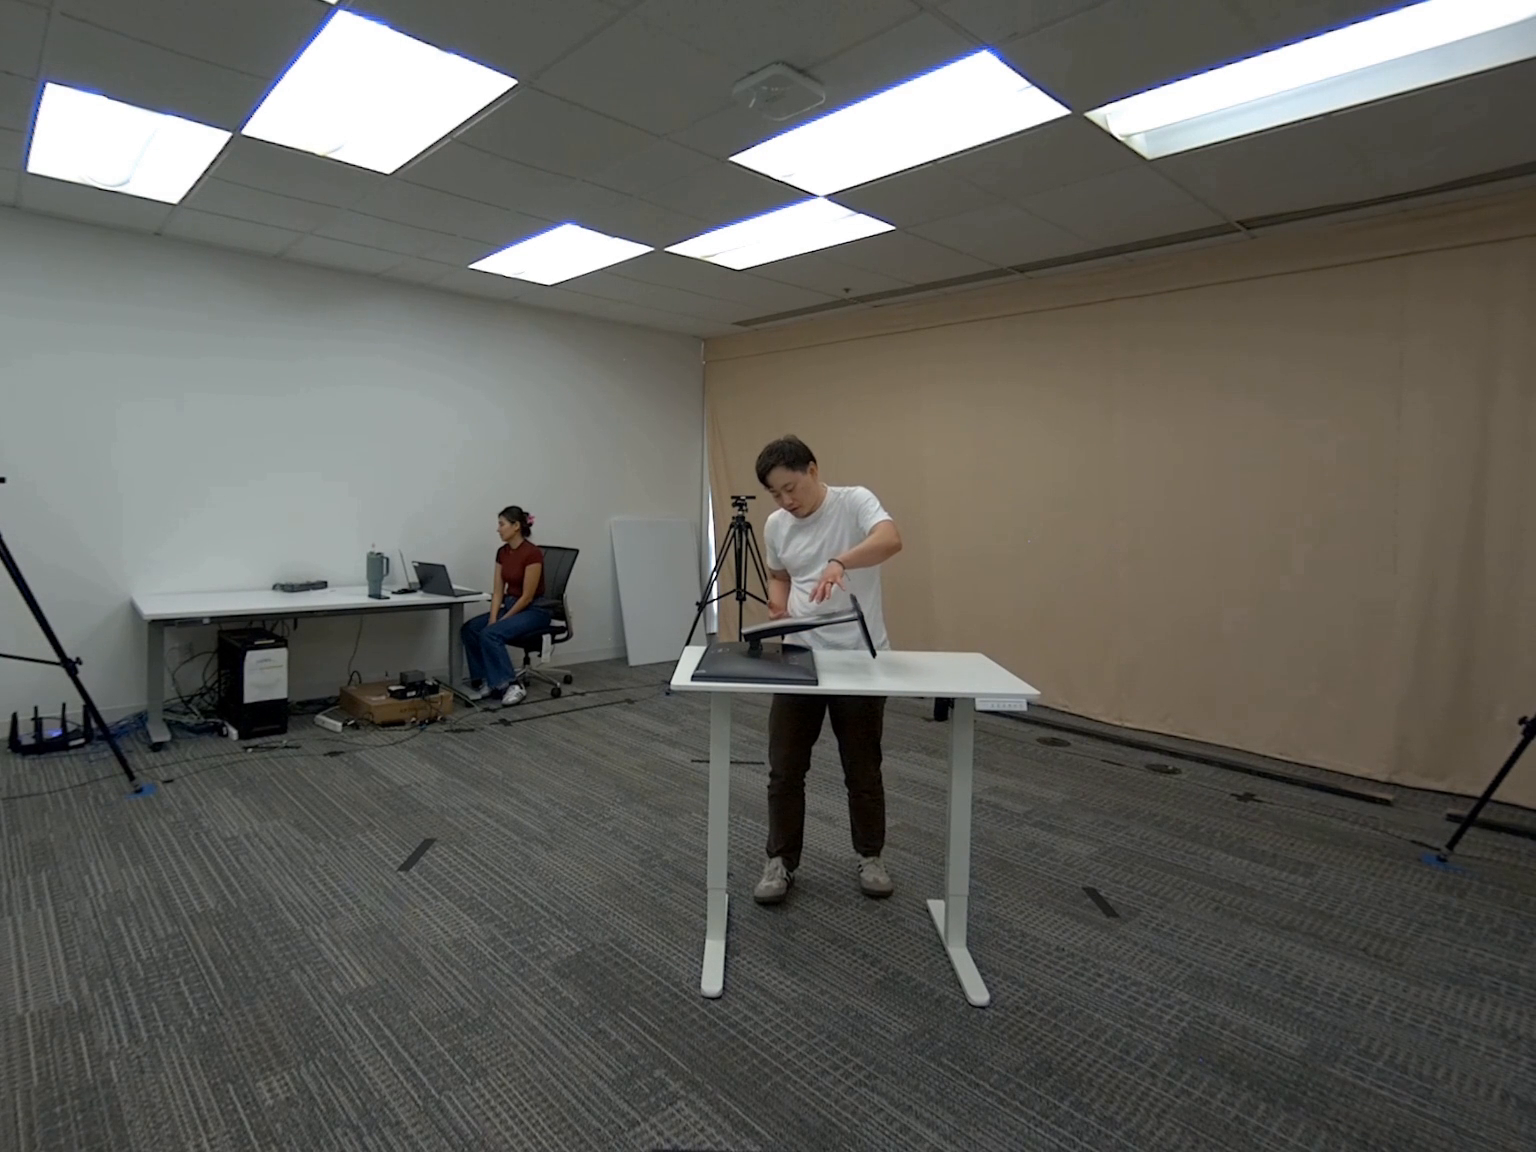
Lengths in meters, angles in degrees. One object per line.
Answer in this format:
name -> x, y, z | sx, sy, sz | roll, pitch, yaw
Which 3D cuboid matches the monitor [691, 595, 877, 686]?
monitor -> 0.031, 0.215, 2.561 | 0.523, 0.187, 0.539 | -16, 4, 3
